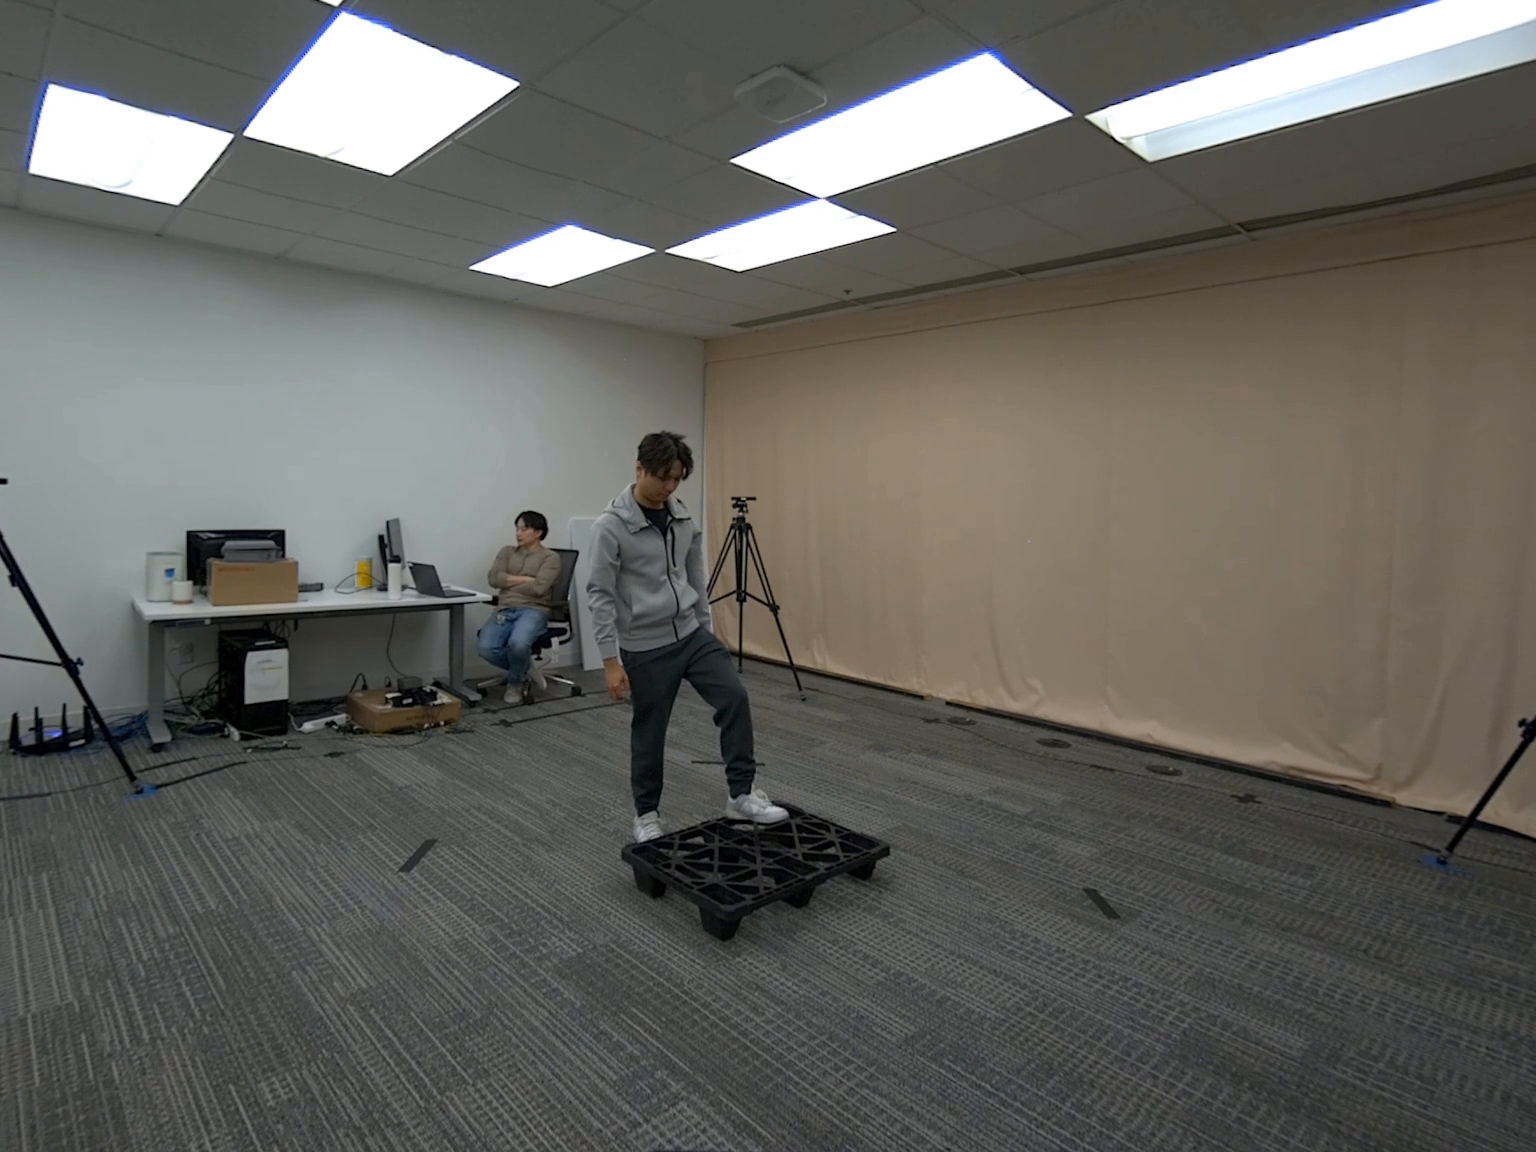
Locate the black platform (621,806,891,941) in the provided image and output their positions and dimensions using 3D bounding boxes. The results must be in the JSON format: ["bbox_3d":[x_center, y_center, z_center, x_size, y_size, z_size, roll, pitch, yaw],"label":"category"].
[{"bbox_3d":[-0.050,1.049,3.048,0.787,0.143,0.620,-3,6,-43],"label":"black platform"}]
